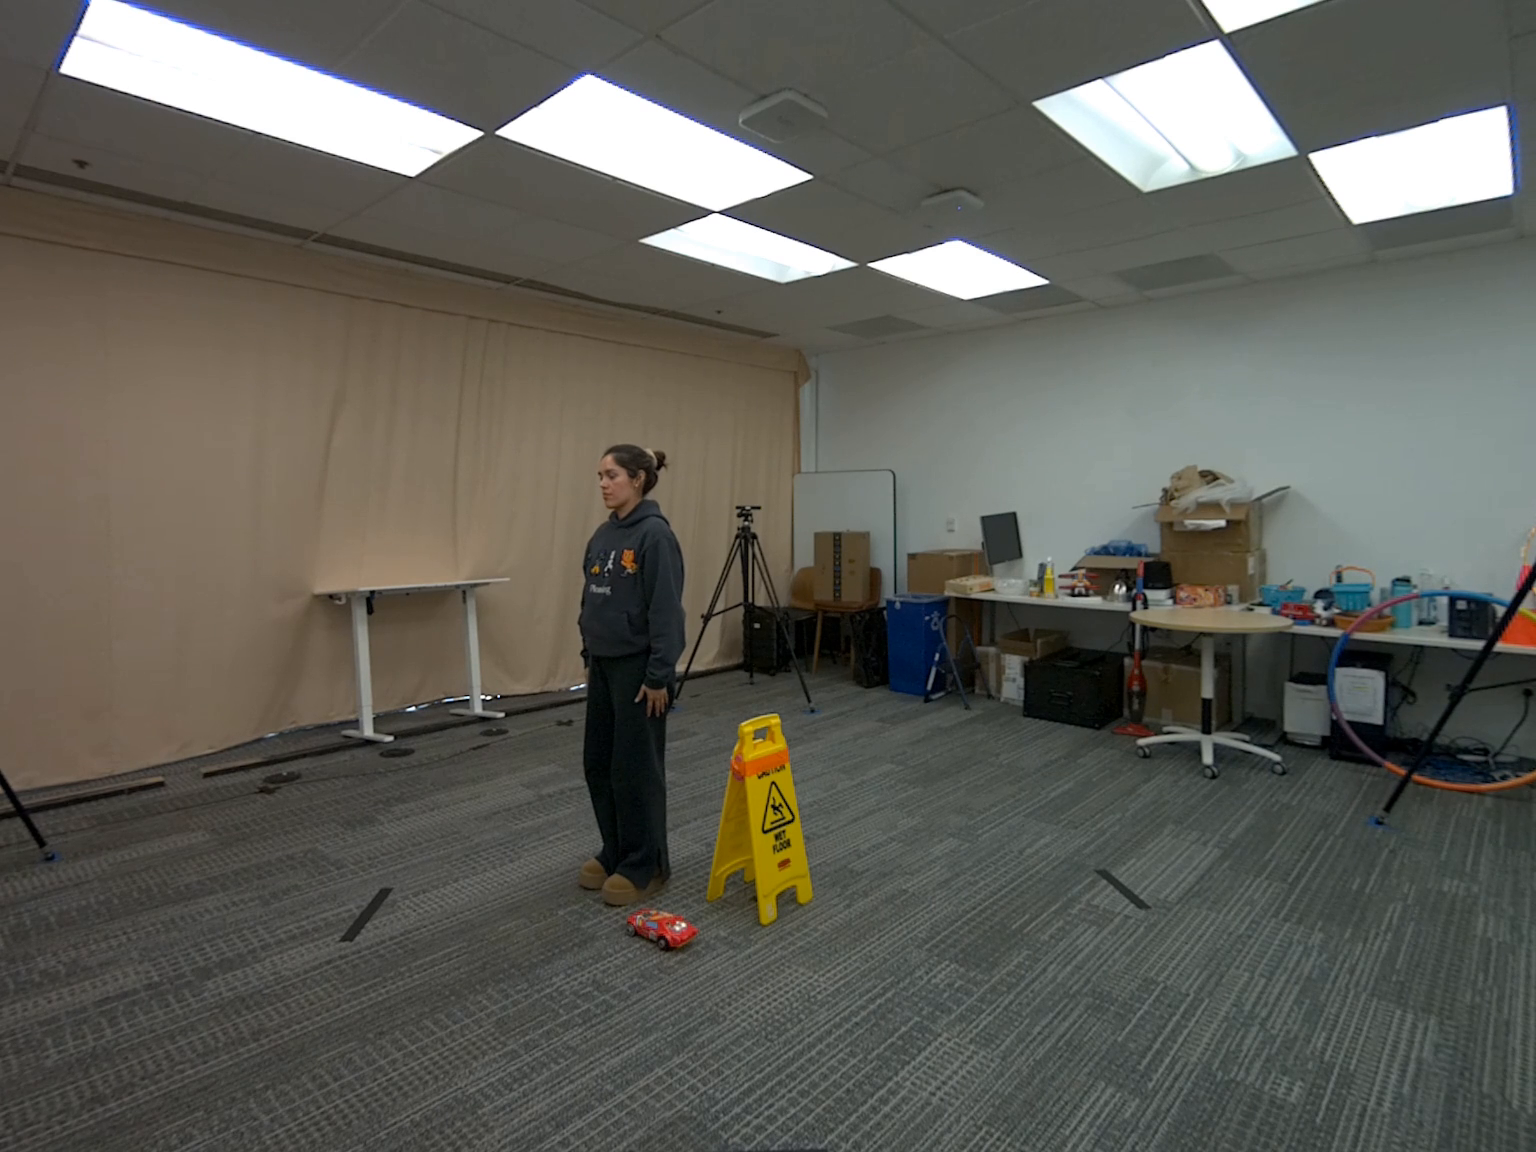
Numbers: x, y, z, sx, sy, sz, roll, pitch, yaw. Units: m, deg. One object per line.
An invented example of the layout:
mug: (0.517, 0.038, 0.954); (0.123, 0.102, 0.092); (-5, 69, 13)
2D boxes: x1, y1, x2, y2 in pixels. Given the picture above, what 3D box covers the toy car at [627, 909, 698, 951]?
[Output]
toy car: (-0.317, 1.138, 2.708); (0.261, 0.083, 0.126); (-12, -3, 39)
